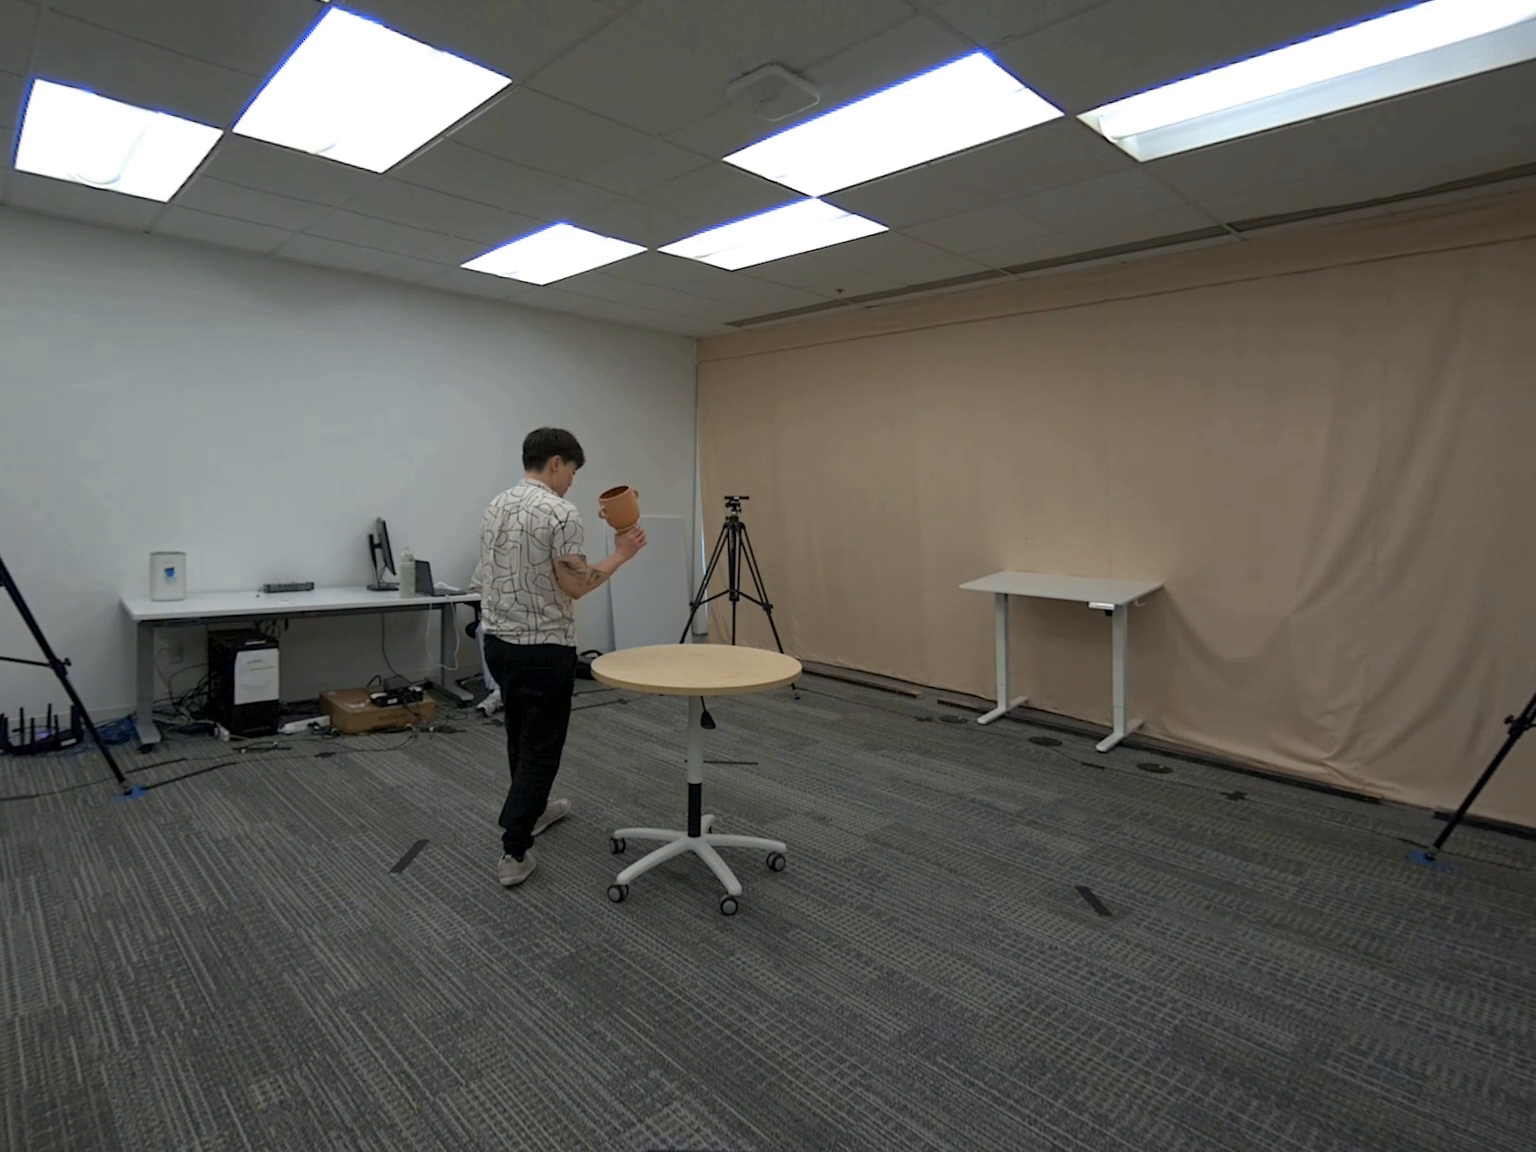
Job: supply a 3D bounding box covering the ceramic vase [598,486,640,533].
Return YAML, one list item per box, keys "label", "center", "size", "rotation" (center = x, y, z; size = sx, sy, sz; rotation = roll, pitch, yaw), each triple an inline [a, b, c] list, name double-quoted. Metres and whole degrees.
- label: "ceramic vase"
  center: [-0.566, -0.224, 3.203]
  size: [0.158, 0.215, 0.137]
  rotation: [-19, 23, -3]
